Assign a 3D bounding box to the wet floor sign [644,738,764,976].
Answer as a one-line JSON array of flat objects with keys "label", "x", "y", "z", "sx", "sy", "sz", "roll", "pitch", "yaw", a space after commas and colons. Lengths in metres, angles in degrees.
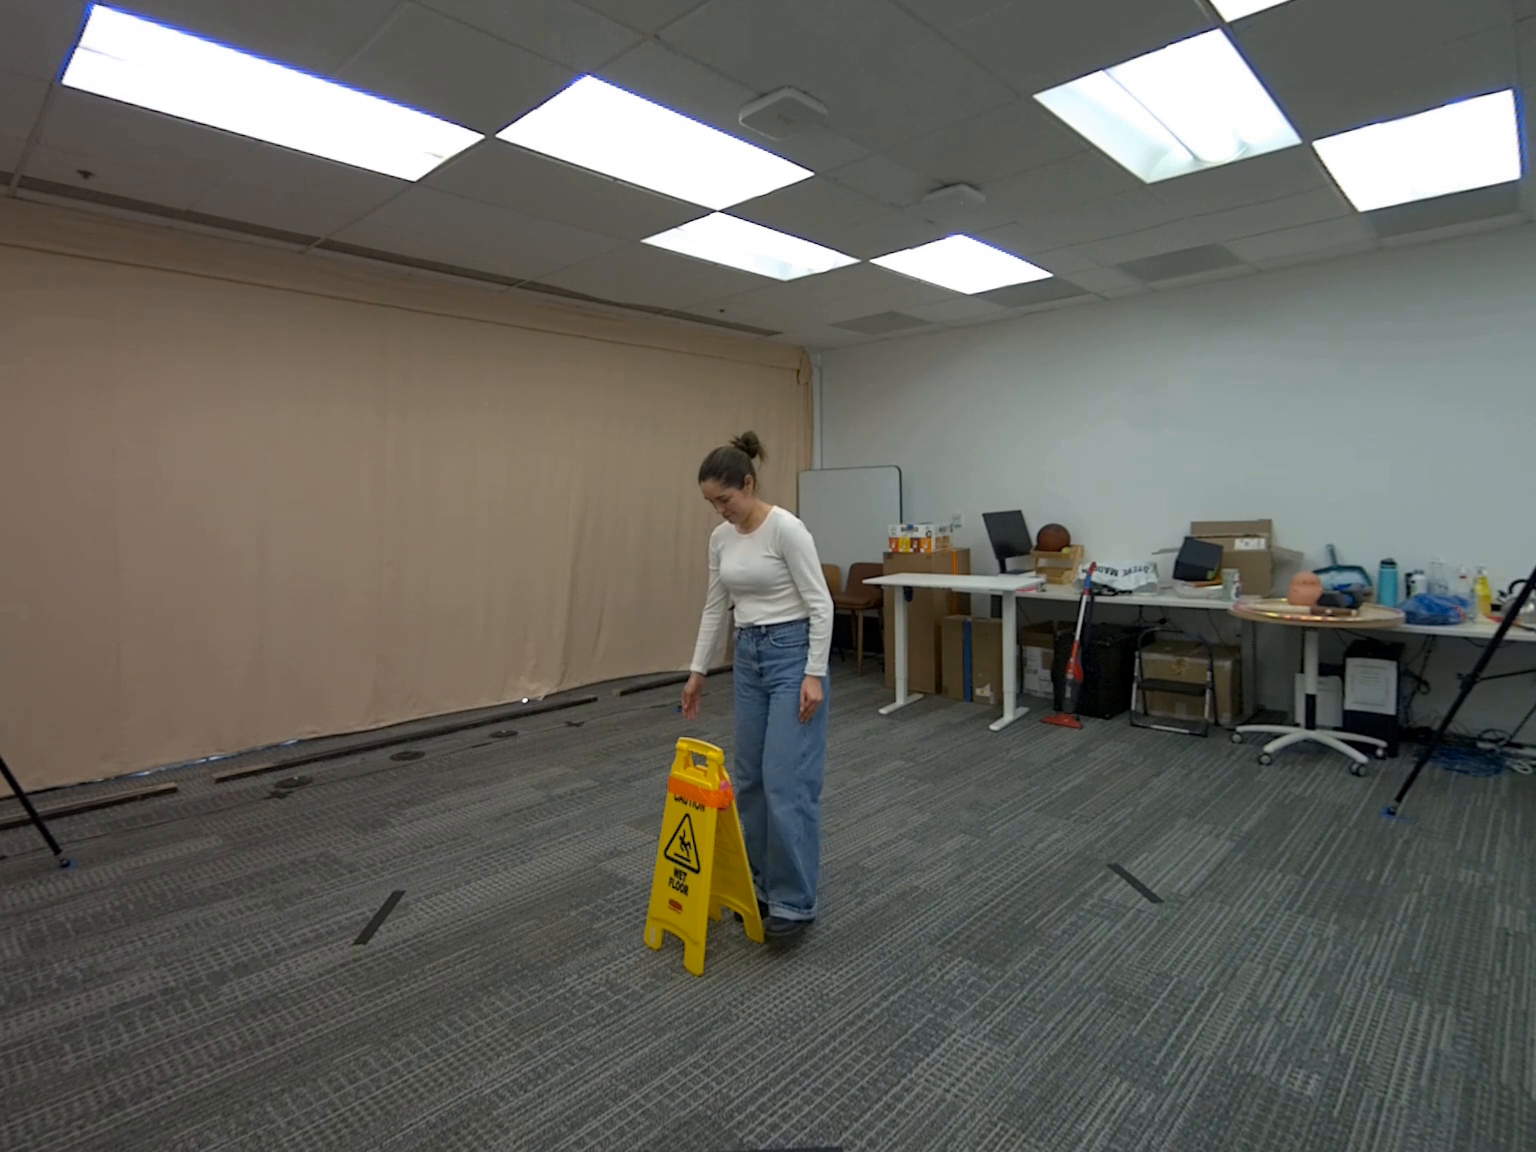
[{"label": "wet floor sign", "x": -0.205, "y": 0.848, "z": 2.668, "sx": 0.281, "sy": 0.645, "sz": 0.291, "roll": -3, "pitch": 4, "yaw": -45}]
